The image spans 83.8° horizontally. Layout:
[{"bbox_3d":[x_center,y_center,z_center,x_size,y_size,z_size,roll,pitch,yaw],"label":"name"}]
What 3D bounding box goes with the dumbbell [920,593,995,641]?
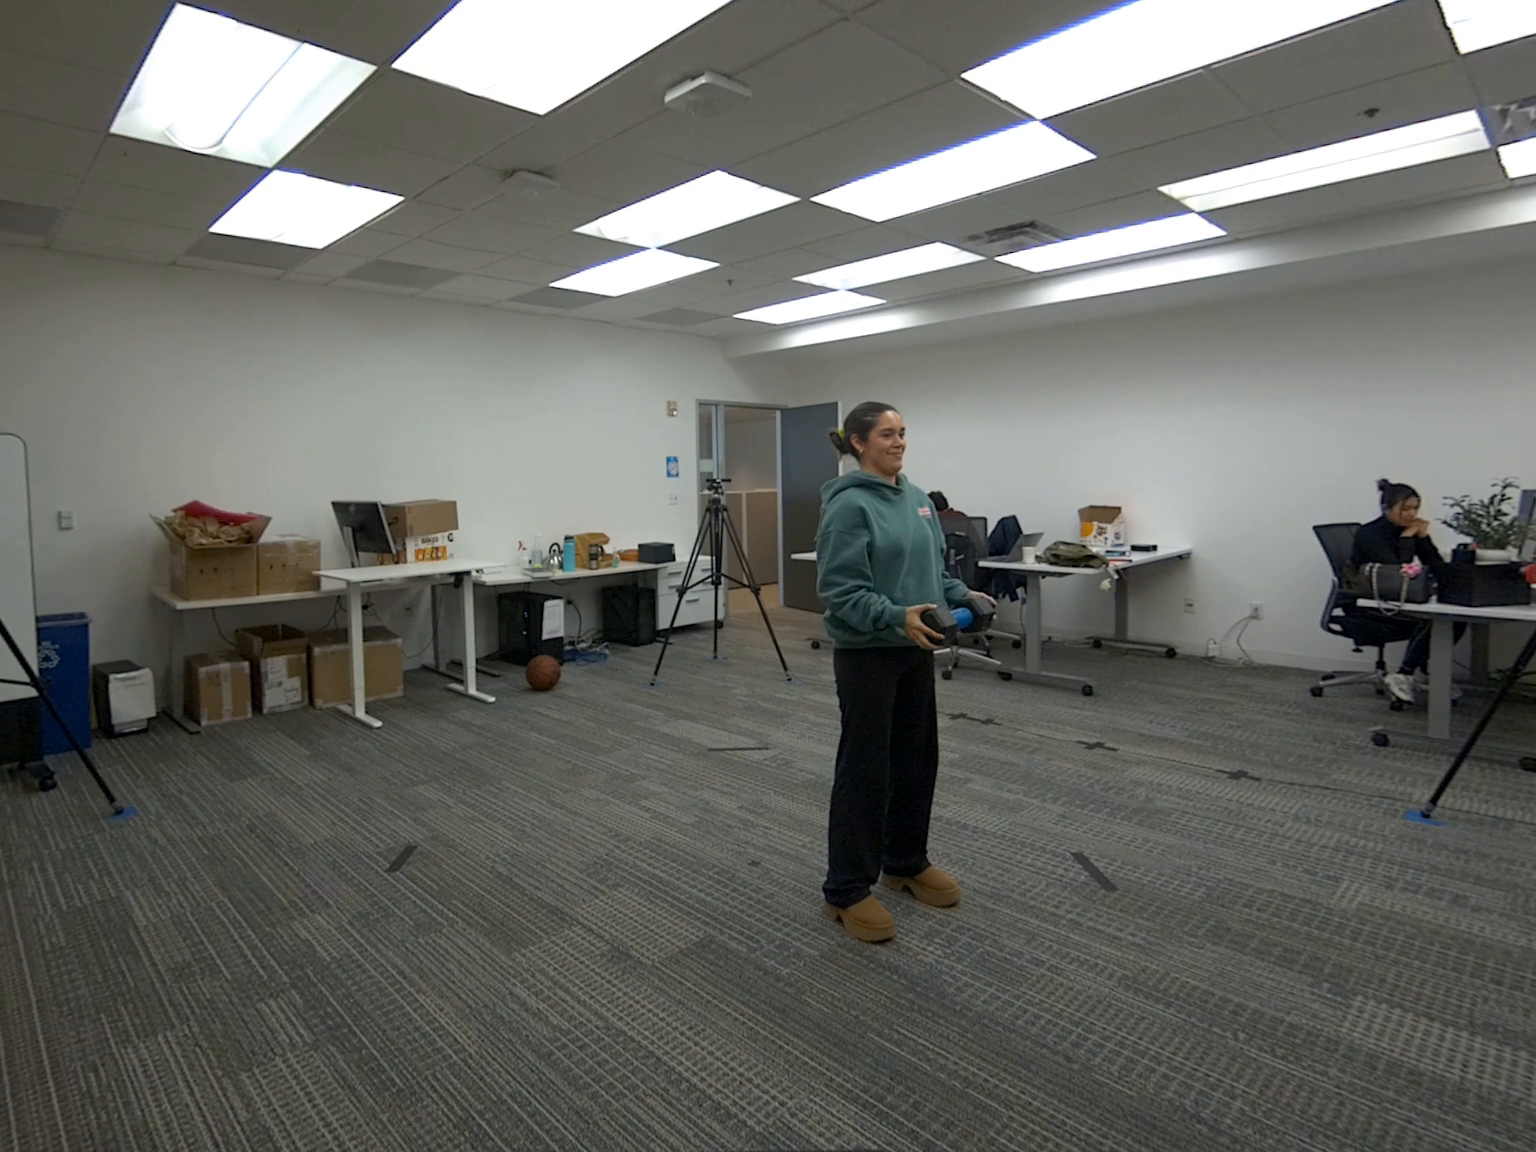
[{"bbox_3d":[0.552,0.132,2.570,0.286,0.126,0.108,-10,-30,-46],"label":"dumbbell"}]
